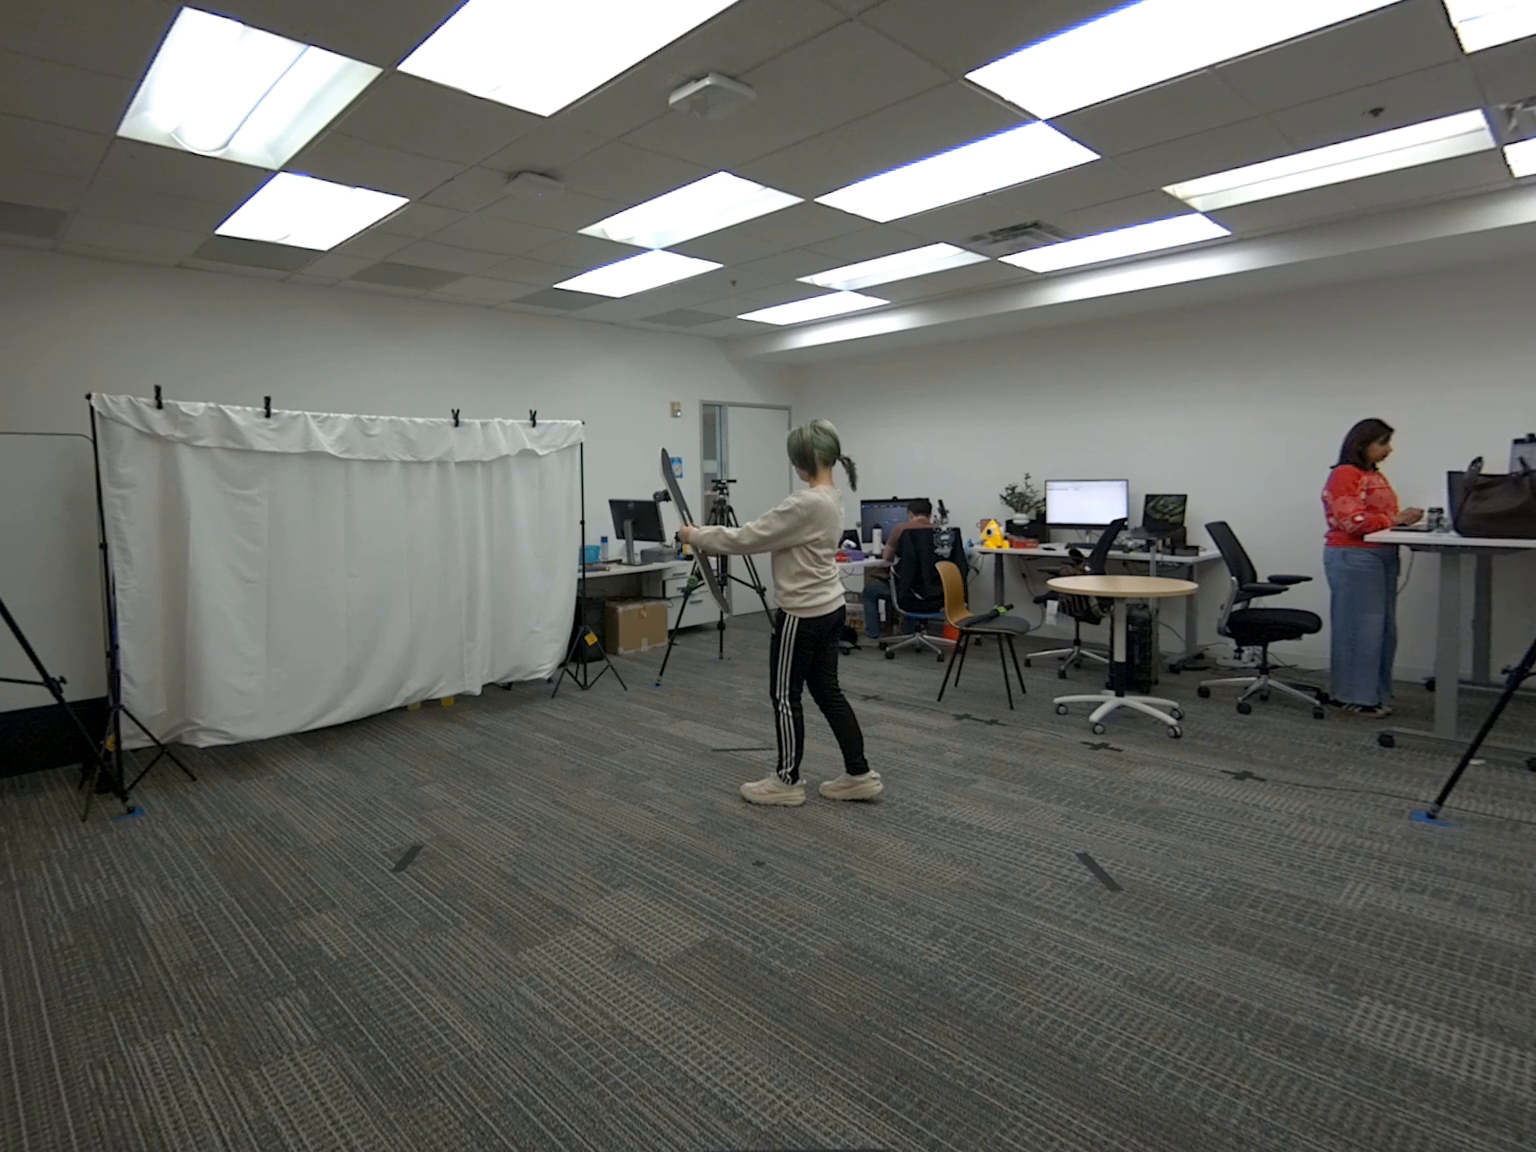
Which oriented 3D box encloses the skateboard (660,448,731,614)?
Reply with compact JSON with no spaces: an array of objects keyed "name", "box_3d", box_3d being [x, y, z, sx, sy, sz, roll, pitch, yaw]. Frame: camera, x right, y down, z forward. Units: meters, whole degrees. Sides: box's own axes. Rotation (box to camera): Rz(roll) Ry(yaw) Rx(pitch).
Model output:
[{"name":"skateboard","box_3d":[-0.368,-0.182,3.795,0.111,0.782,0.193,-21,3,12]}]
